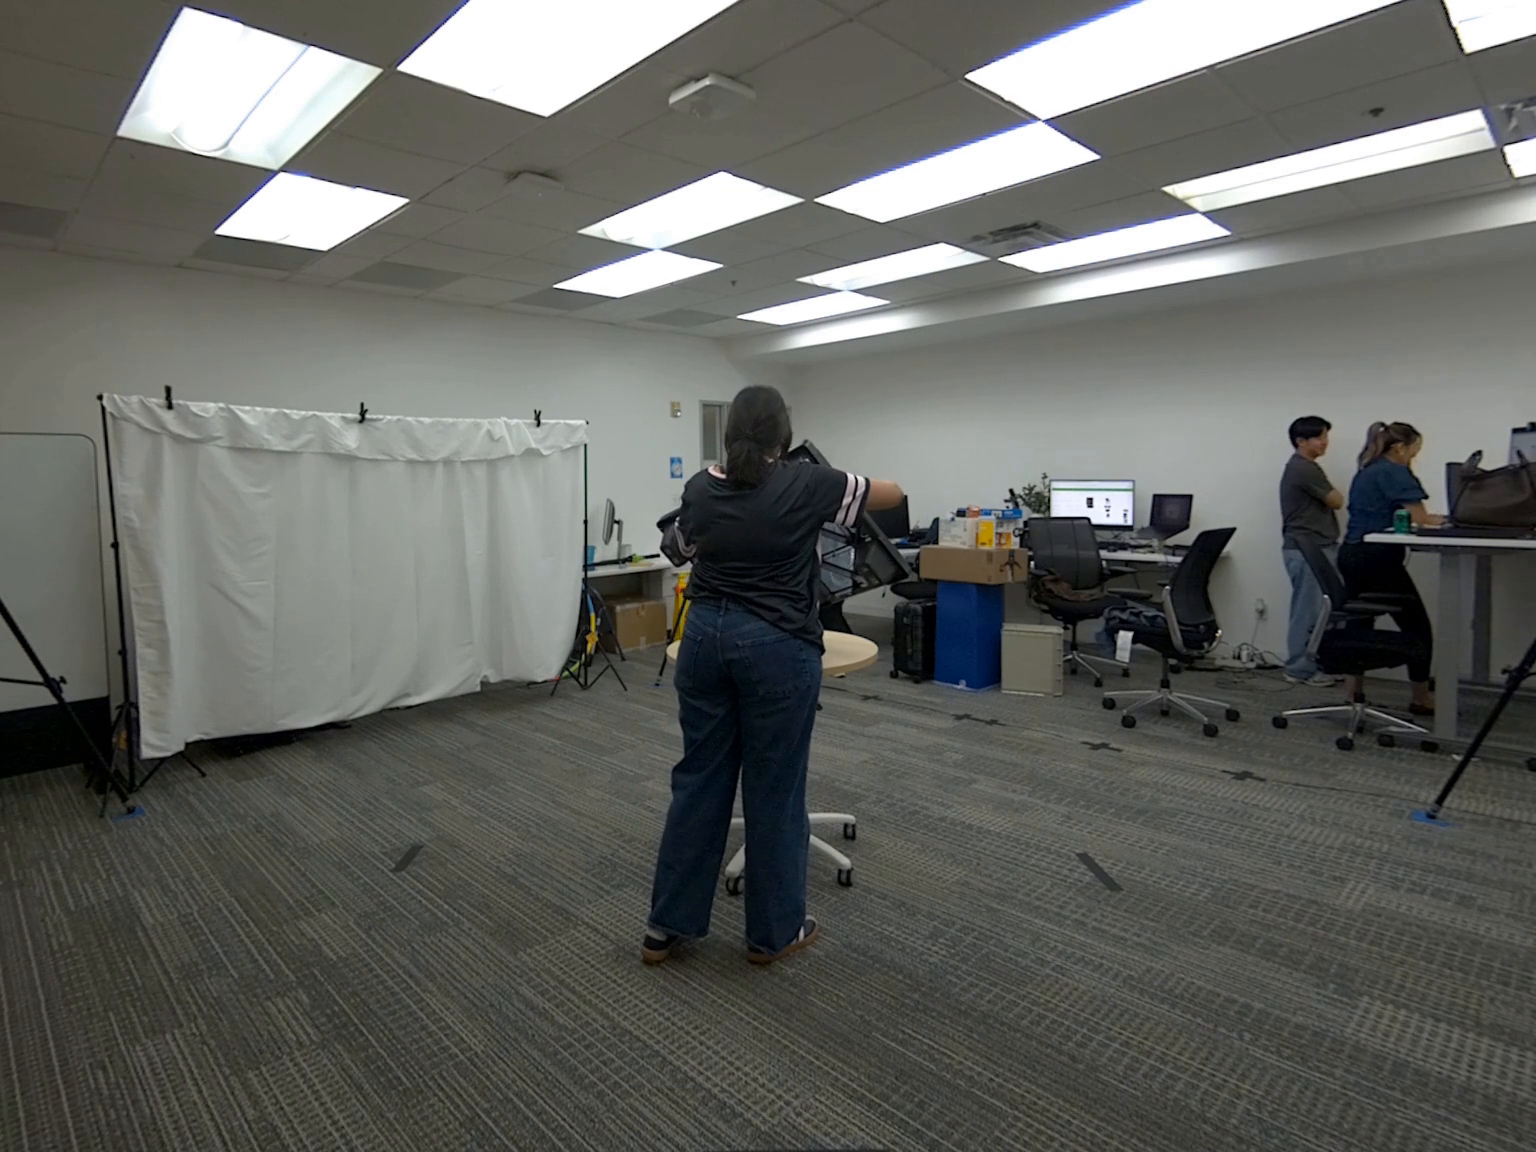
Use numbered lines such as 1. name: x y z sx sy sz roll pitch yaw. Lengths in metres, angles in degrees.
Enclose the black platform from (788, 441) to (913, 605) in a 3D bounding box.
1. black platform: 0.017 -0.085 3.051 0.818 0.592 0.144 -24 24 43
